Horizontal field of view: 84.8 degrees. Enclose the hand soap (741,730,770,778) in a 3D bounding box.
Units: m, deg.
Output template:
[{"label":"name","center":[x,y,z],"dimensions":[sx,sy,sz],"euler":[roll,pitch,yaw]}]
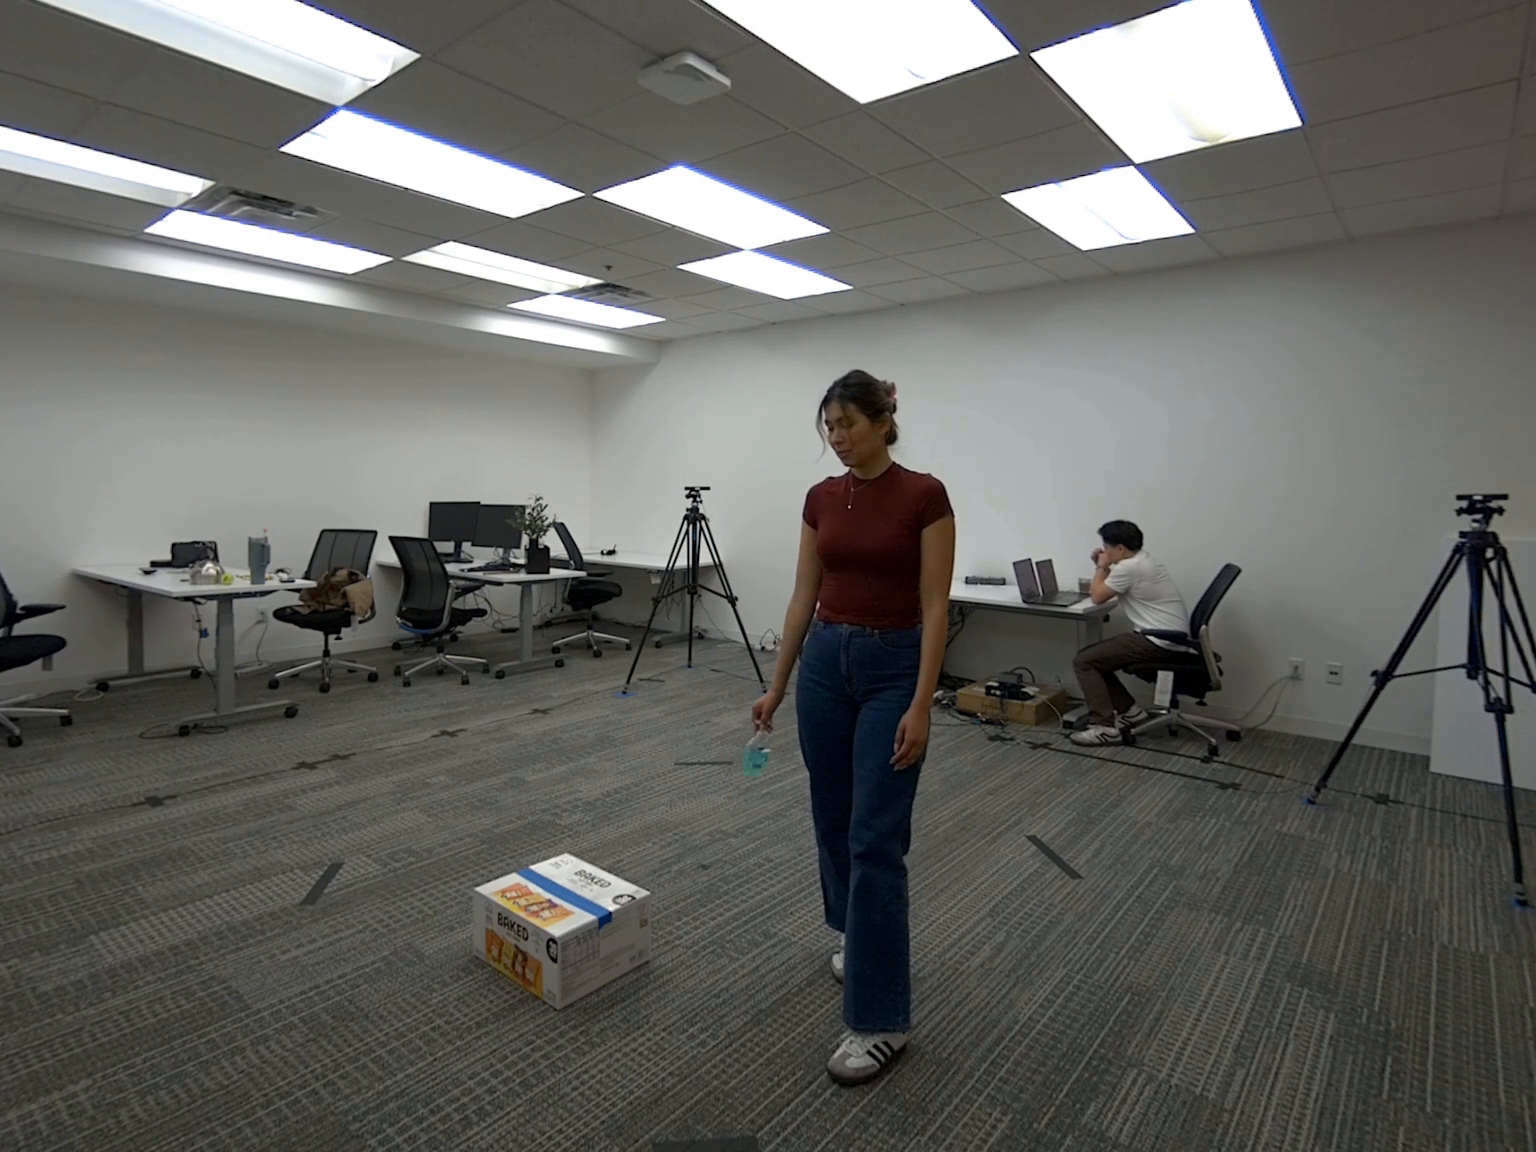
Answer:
[{"label":"hand soap","center":[-0.031,0.490,2.441],"dimensions":[0.082,0.167,0.045],"euler":[7,7,-24]}]
